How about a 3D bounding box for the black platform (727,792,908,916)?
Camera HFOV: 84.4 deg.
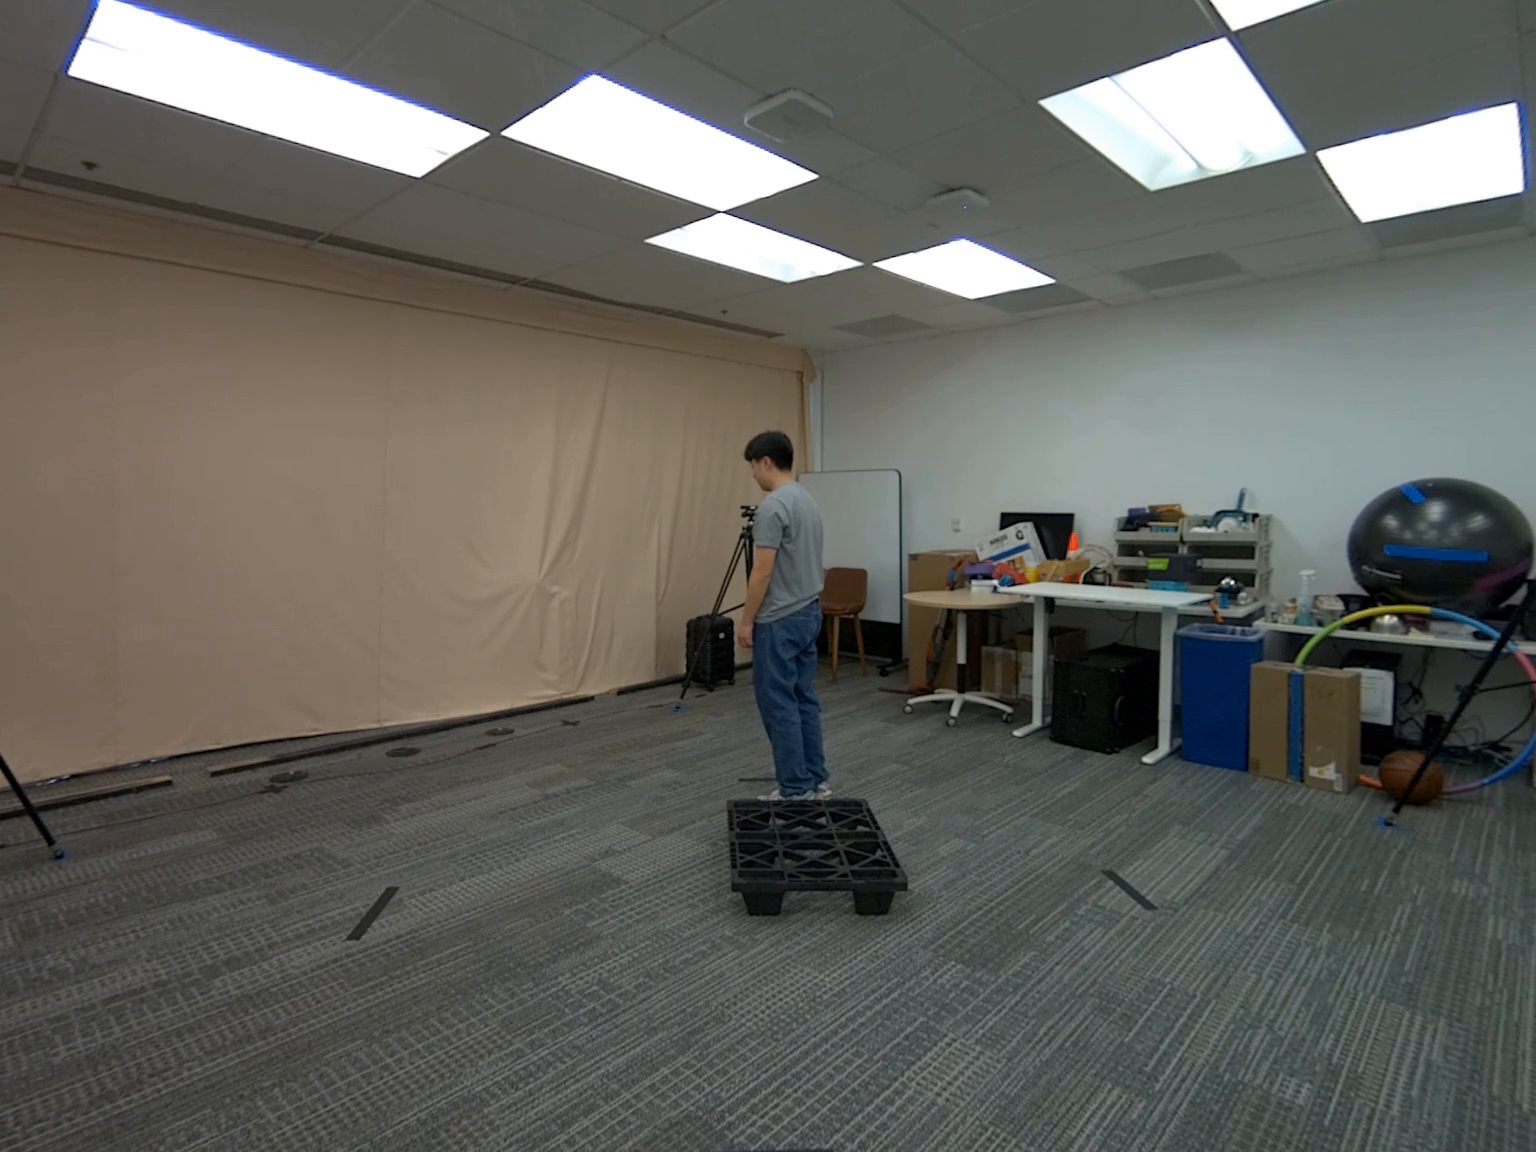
[{"bbox_3d":[0.145,1.053,3.216,0.604,0.143,0.809,-1,5,-3],"label":"black platform"}]
